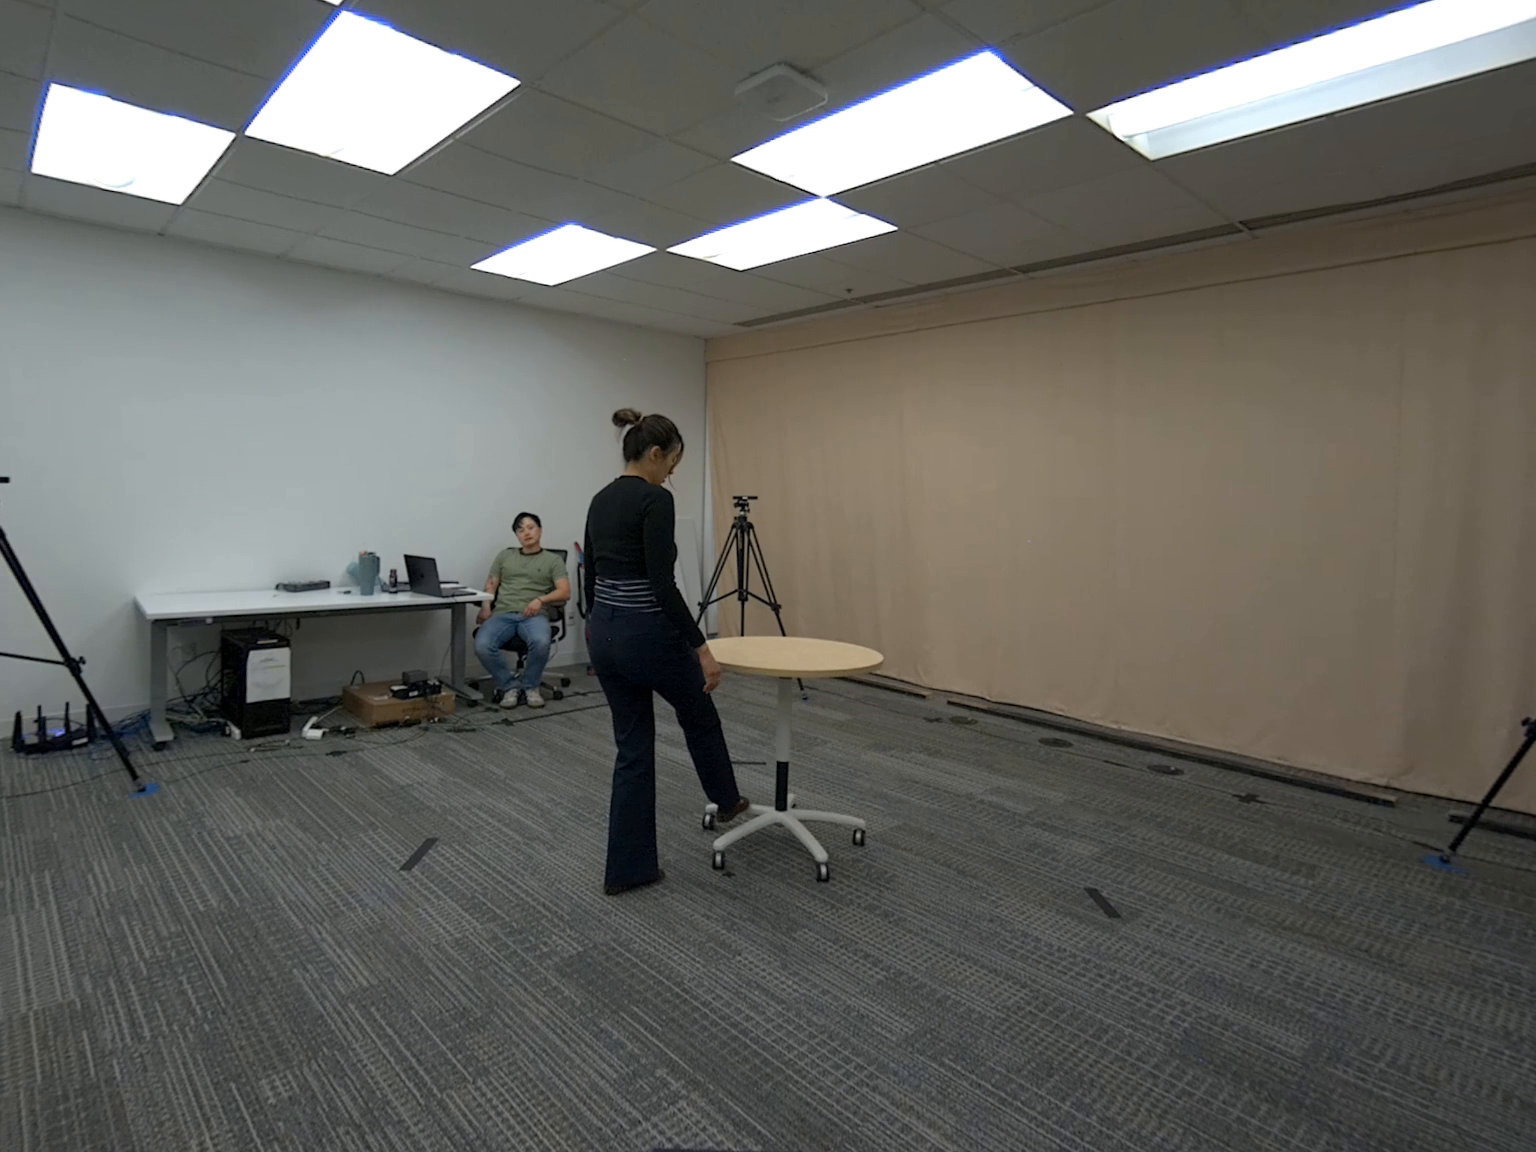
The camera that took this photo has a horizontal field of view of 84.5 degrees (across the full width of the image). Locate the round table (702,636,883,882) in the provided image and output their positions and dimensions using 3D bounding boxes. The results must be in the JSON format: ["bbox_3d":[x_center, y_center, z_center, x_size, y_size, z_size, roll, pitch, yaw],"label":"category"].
[{"bbox_3d":[0.049,0.695,3.372,0.763,0.792,0.766,2,3,-1],"label":"round table"}]
